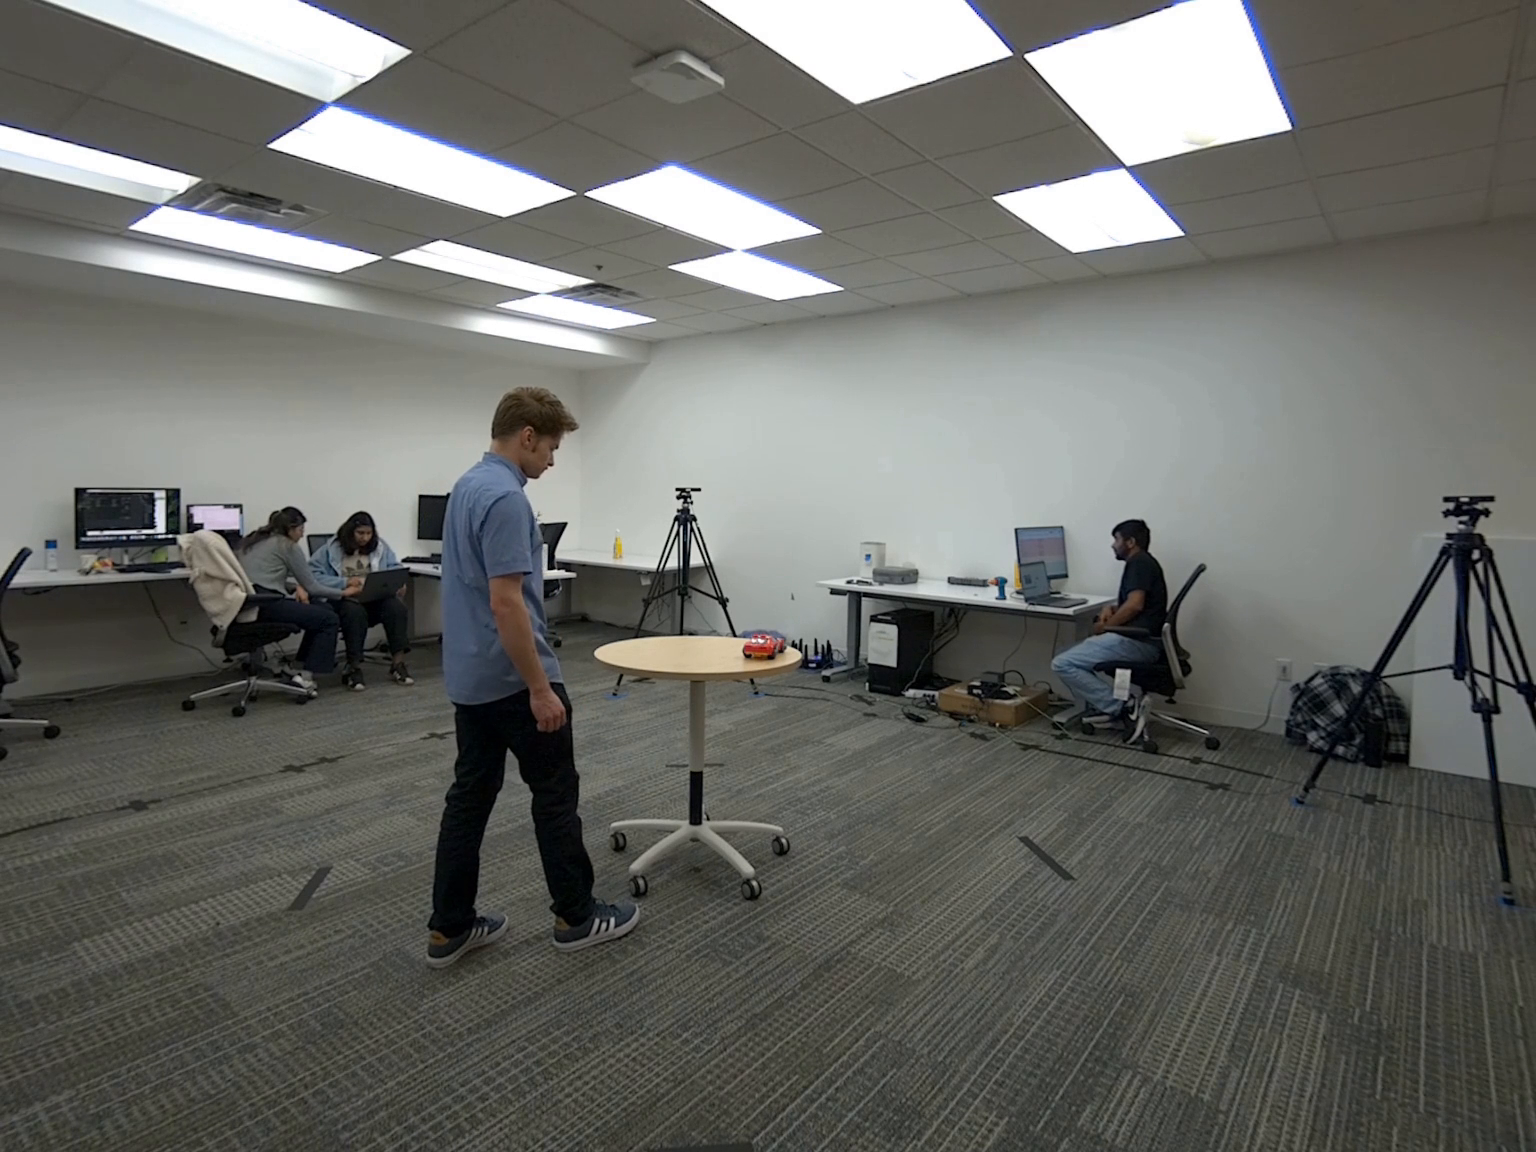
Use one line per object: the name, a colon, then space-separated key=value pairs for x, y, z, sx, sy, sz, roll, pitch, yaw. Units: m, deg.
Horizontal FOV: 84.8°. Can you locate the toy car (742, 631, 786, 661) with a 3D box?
toy car: x=-0.029 y=0.258 z=3.098 sx=0.132 sy=0.084 sz=0.248 roll=2 pitch=-6 yaw=14
